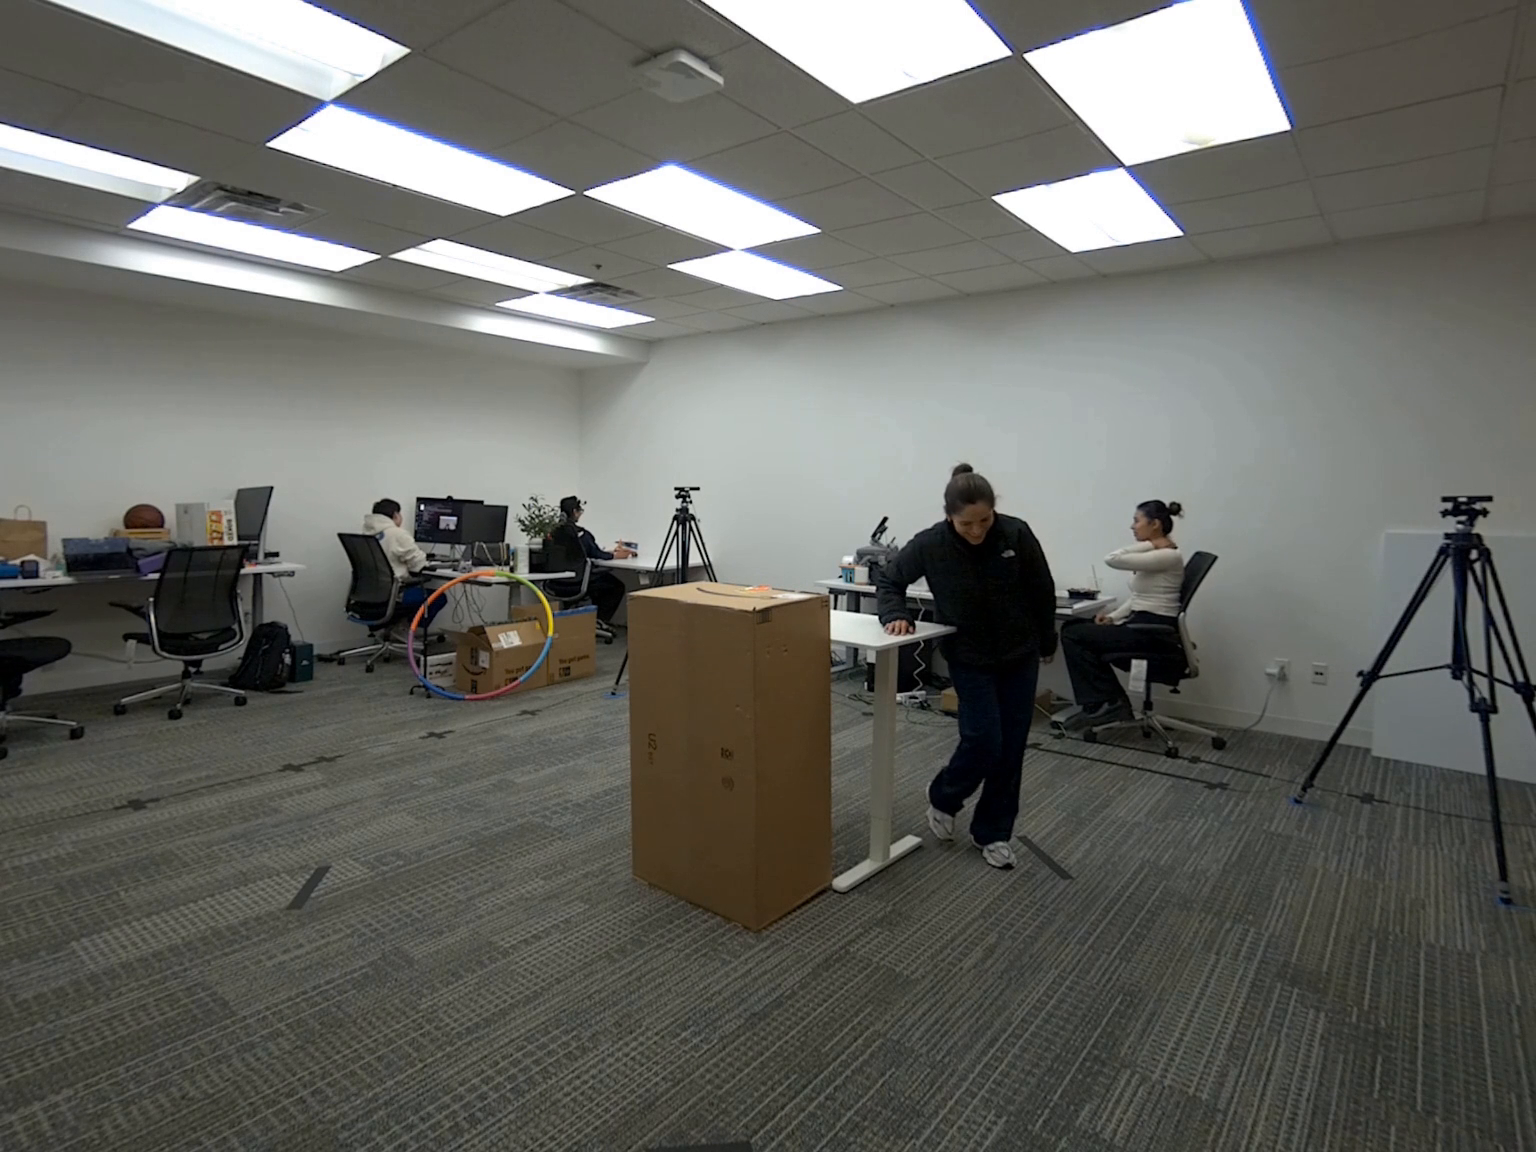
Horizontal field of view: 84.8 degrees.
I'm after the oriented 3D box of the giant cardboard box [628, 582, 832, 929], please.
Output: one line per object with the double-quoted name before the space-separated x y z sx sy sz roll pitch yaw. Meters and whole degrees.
"giant cardboard box" -0.120 0.564 2.978 0.603 1.023 0.434 3 5 42
